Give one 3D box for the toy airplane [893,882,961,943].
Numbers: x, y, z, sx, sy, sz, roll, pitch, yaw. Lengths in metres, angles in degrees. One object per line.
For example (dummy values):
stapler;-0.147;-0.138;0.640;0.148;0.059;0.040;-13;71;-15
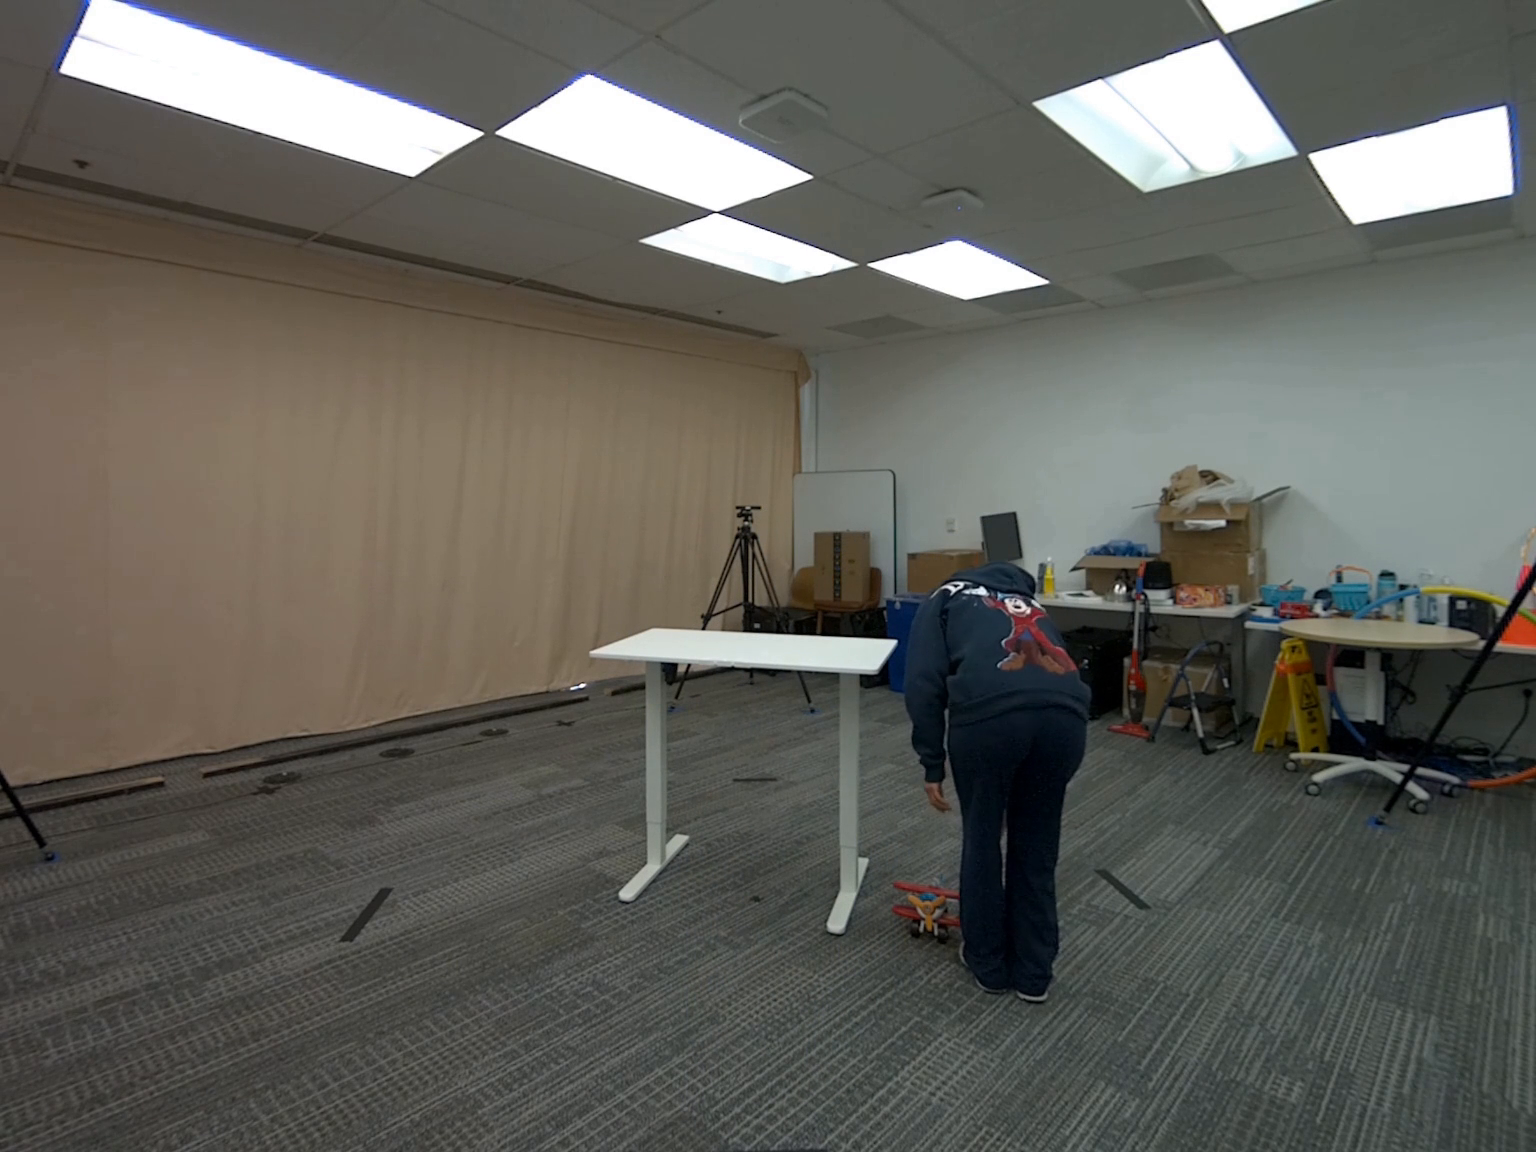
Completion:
toy airplane;0.555;1.079;2.774;0.250;0.156;0.261;-2;5;-5
